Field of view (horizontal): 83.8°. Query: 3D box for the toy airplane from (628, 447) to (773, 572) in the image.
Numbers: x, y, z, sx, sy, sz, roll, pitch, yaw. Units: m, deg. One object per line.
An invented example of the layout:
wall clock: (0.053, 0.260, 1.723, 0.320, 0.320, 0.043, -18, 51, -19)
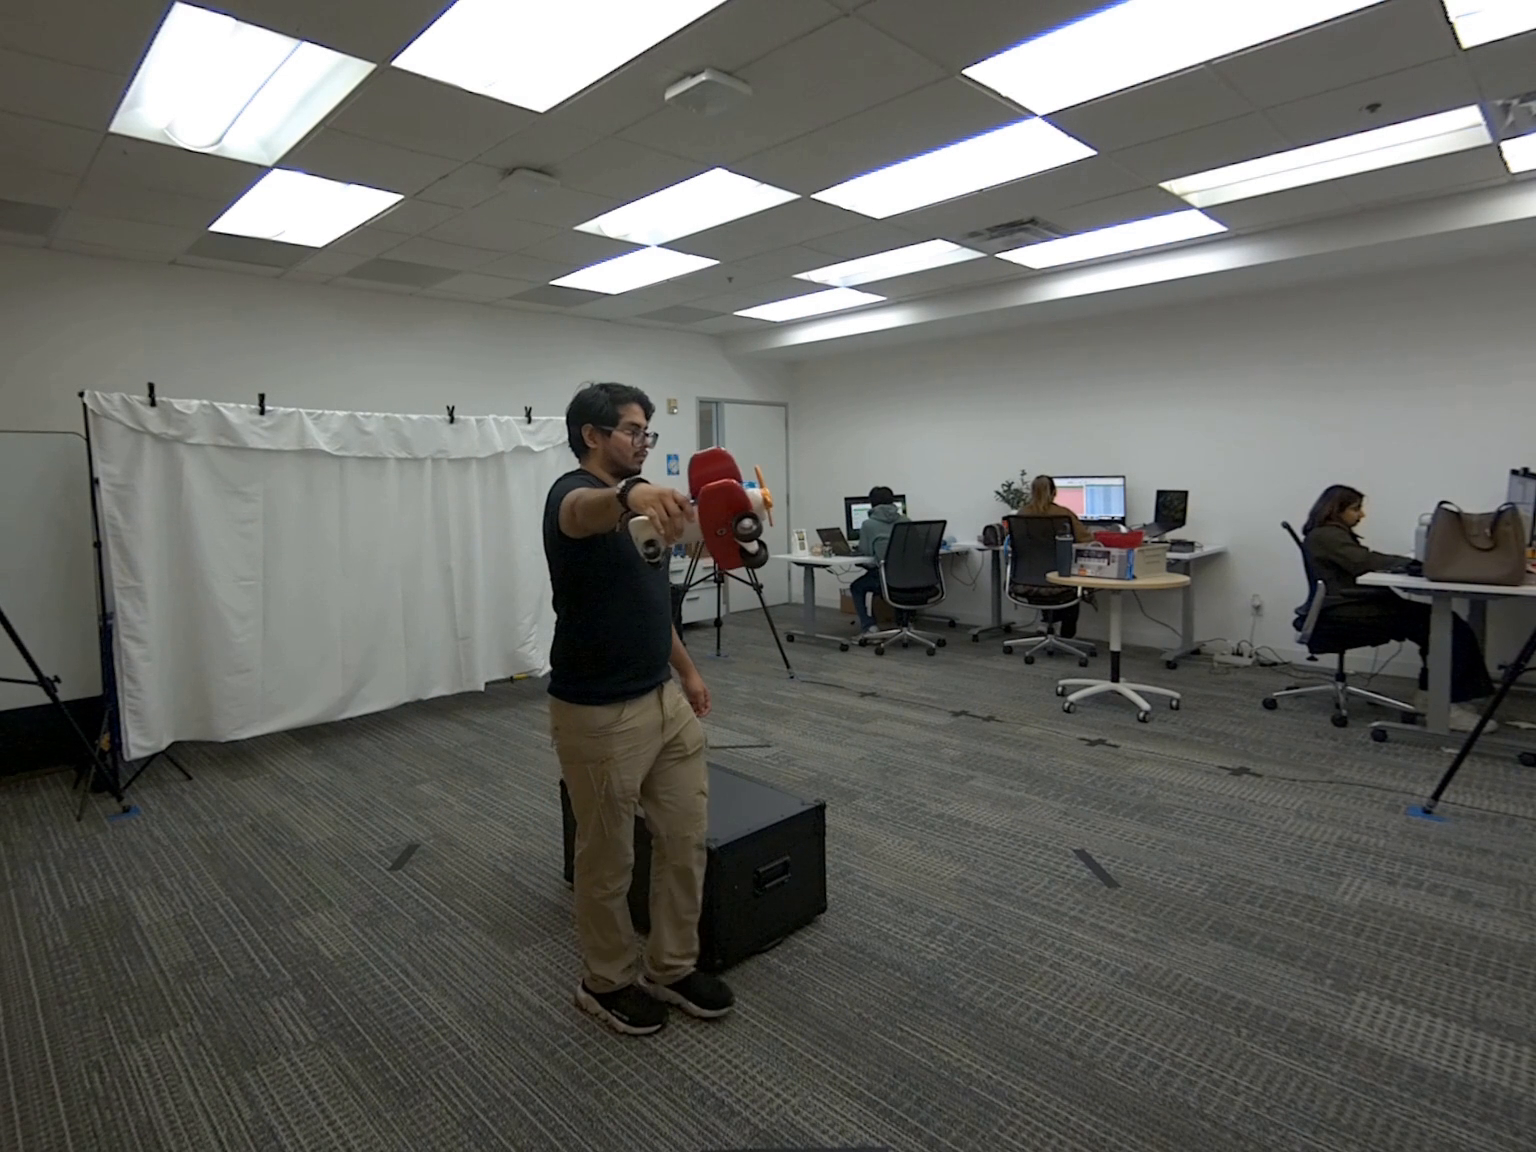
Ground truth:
toy airplane: (-0.111, -0.107, 1.530, 0.255, 0.160, 0.249, 12, -36, -16)
